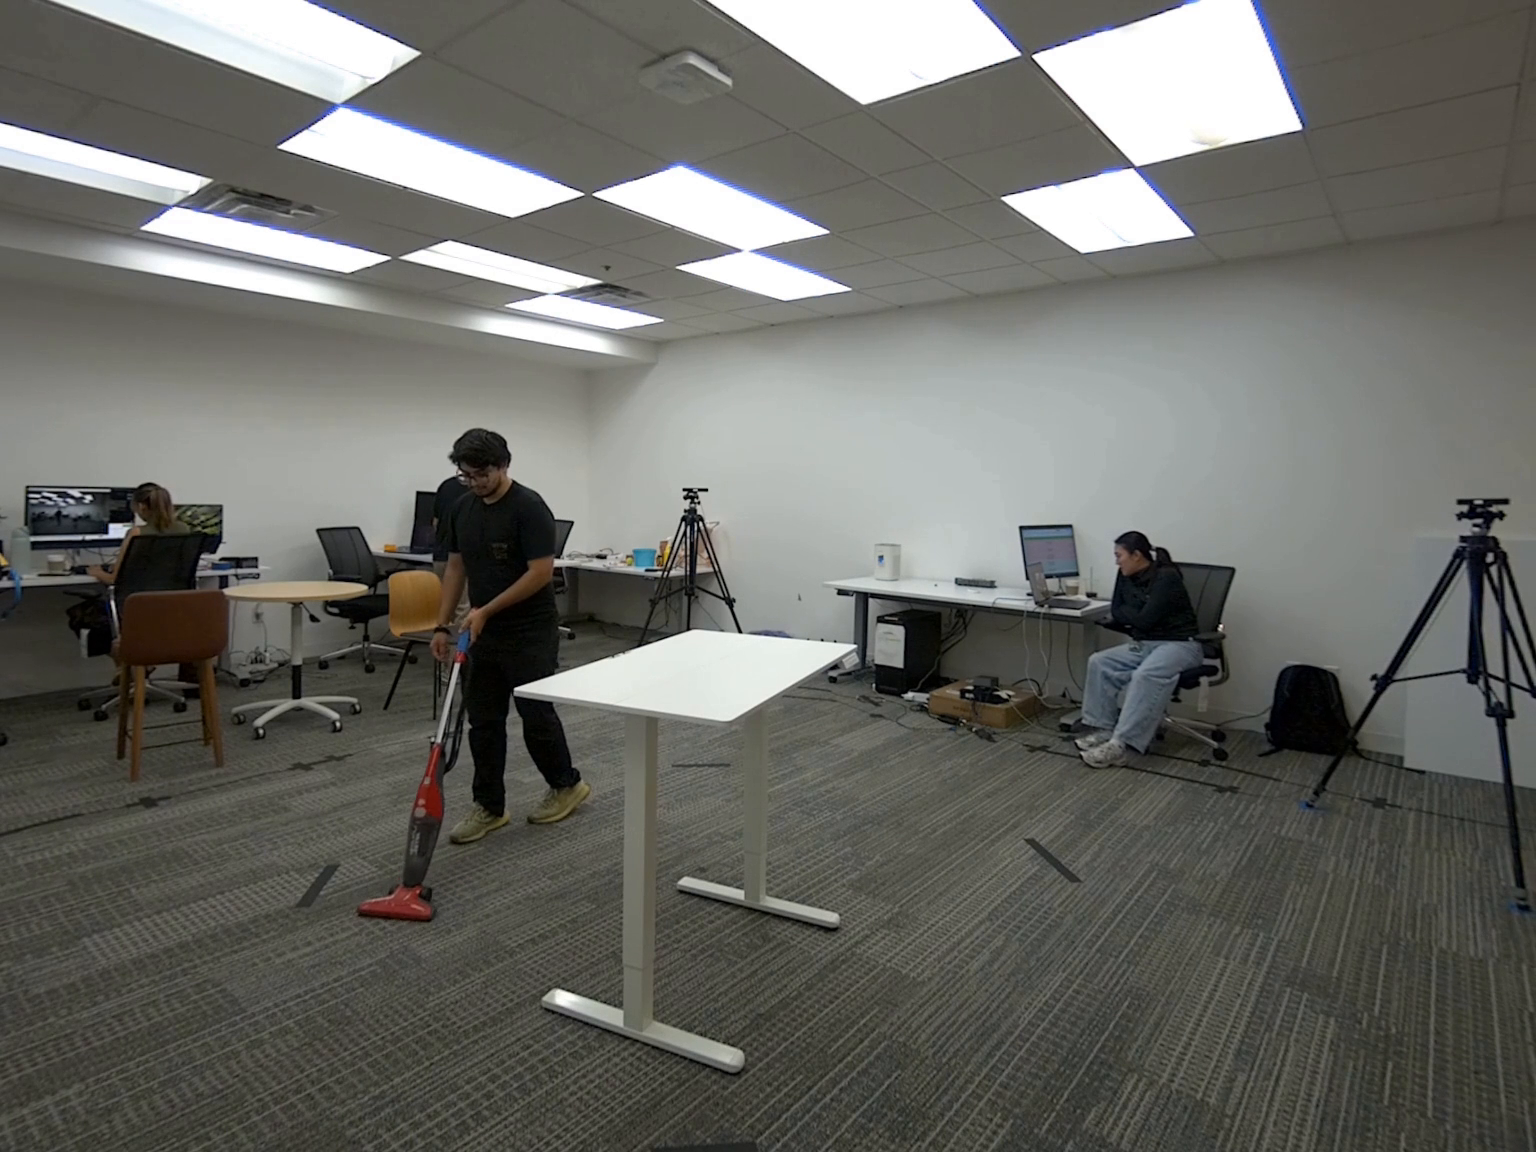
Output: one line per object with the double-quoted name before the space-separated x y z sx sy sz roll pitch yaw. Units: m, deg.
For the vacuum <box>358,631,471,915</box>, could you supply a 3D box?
"vacuum" -1.174 0.601 3.029 0.255 1.072 0.140 1 -28 7
